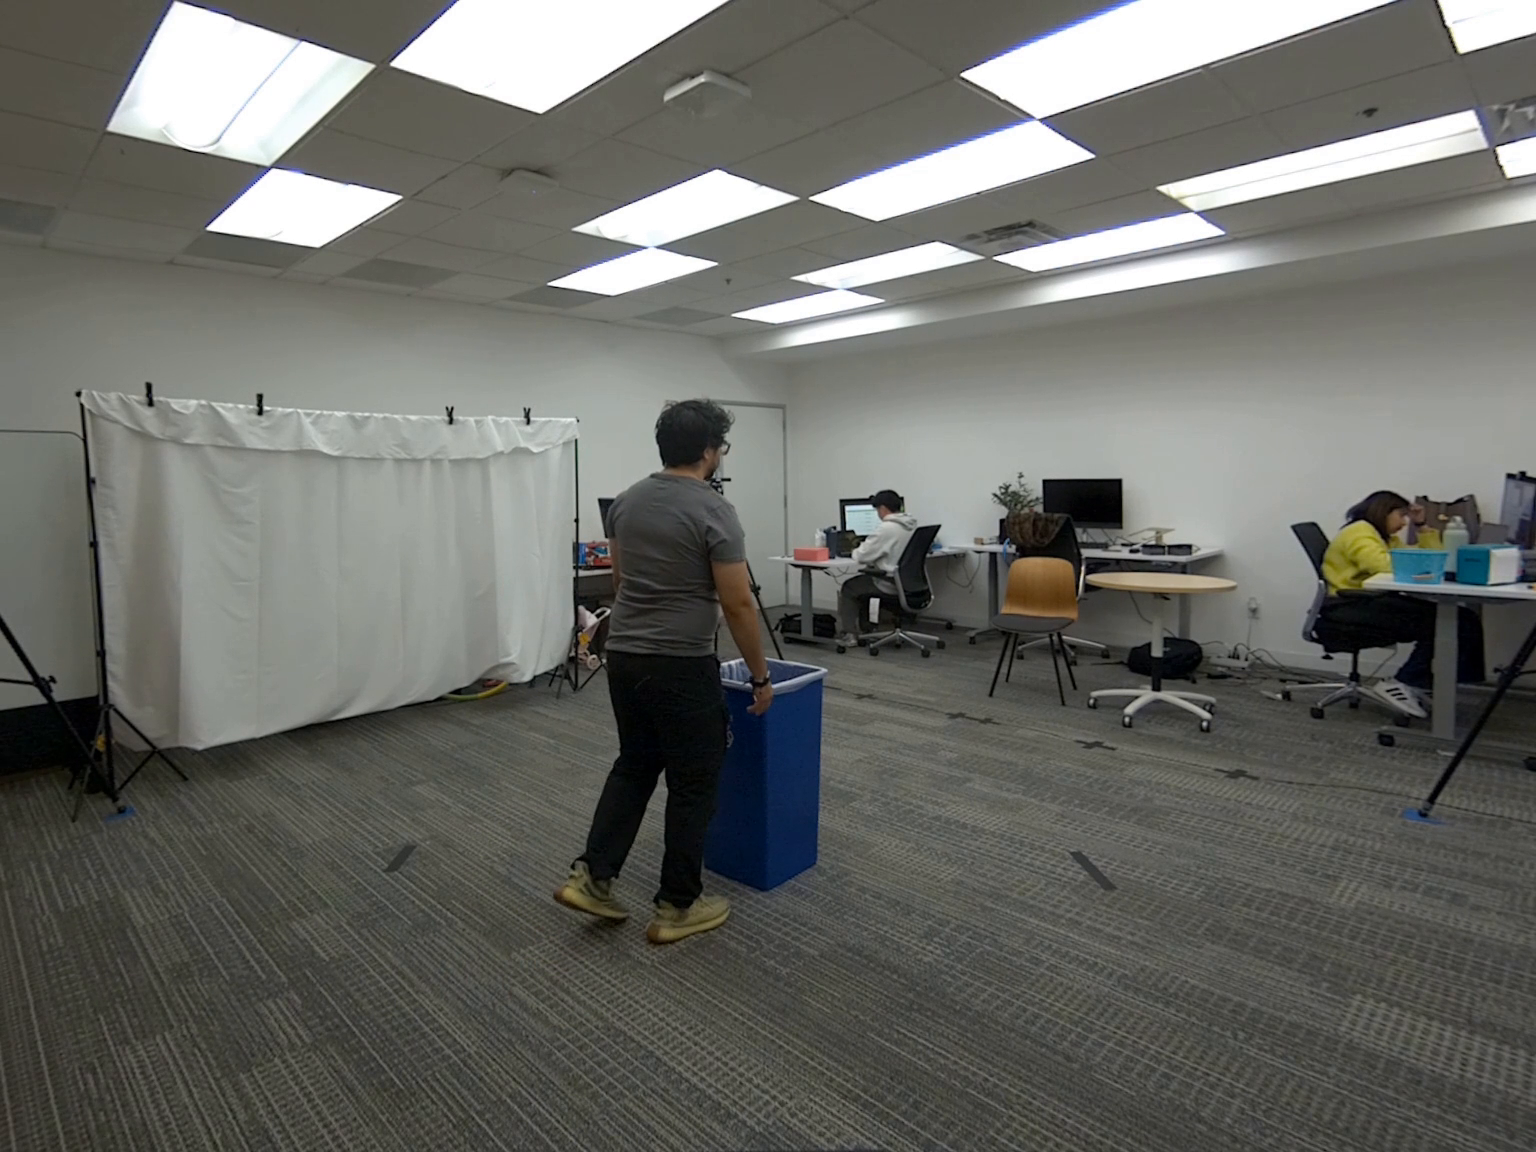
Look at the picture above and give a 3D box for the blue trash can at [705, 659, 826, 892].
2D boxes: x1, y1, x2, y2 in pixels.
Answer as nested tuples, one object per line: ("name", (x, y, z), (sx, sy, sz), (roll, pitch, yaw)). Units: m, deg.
("blue trash can", (-0.019, 0.689, 3.063), (0.385, 0.711, 0.368), (2, 5, 41))
